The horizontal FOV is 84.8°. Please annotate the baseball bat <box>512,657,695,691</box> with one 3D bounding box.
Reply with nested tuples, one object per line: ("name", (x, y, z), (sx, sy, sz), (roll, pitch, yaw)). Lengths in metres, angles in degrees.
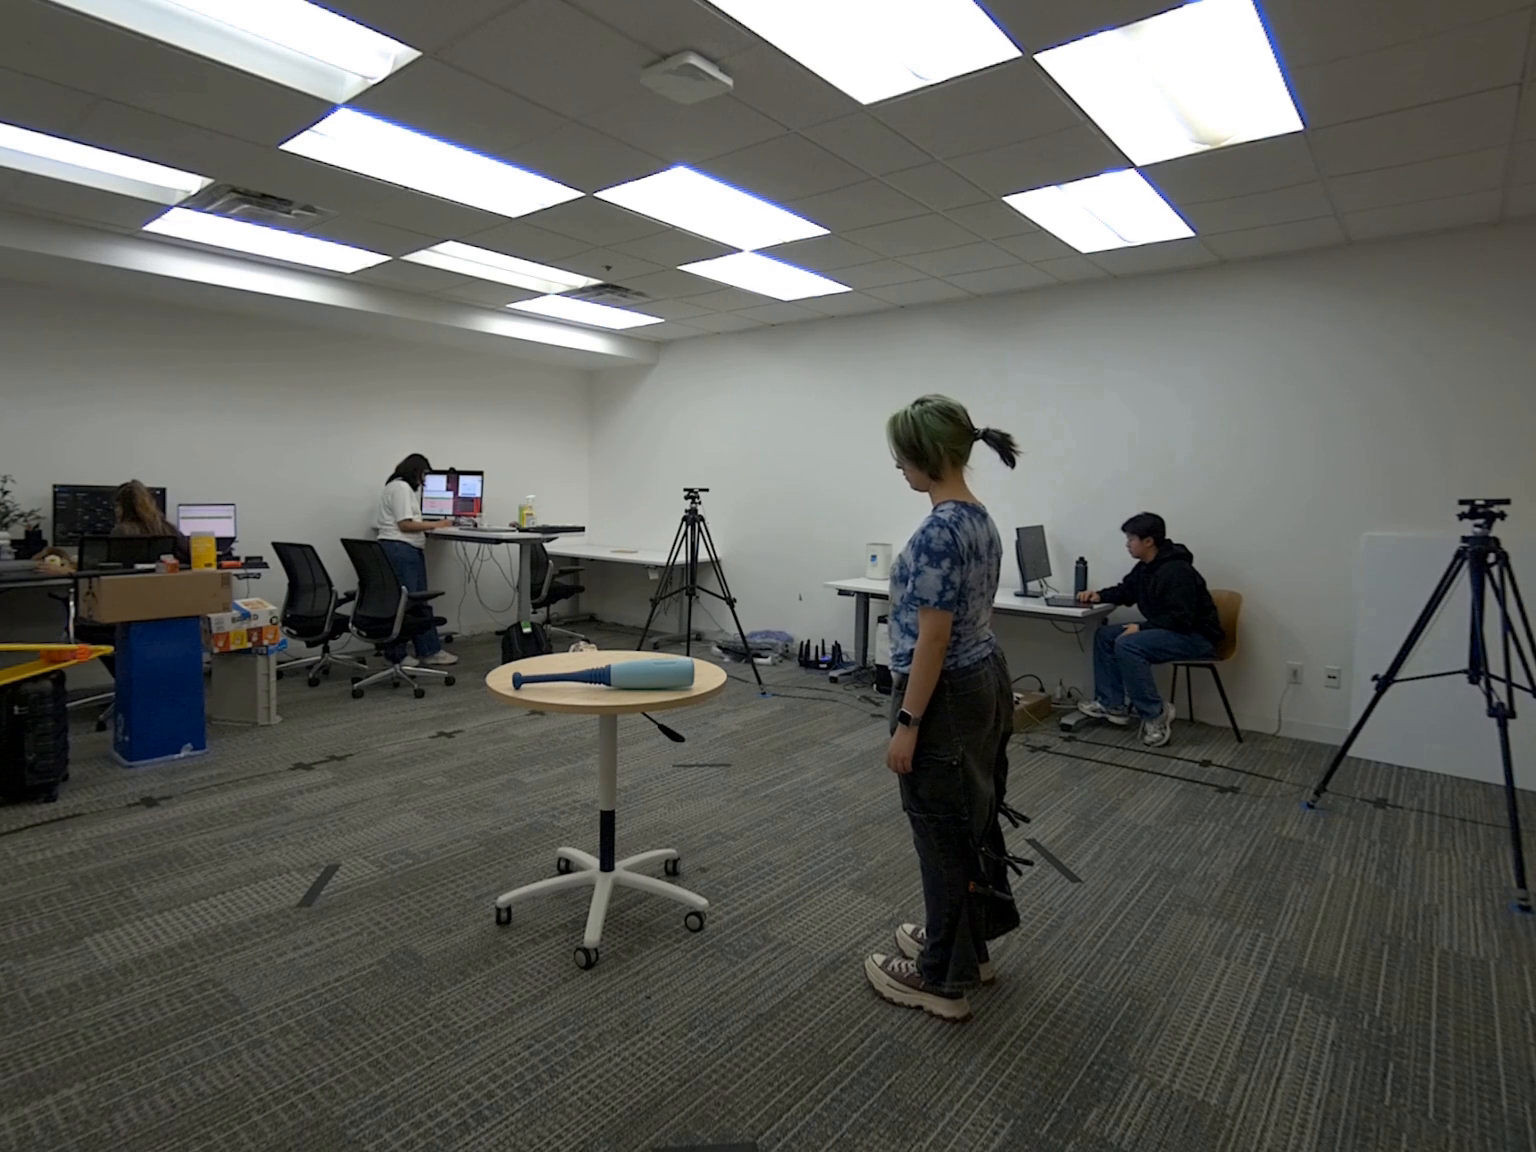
("baseball bat", (-0.506, 0.302, 2.549), (0.539, 0.089, 0.090), (-2, 4, -6))
